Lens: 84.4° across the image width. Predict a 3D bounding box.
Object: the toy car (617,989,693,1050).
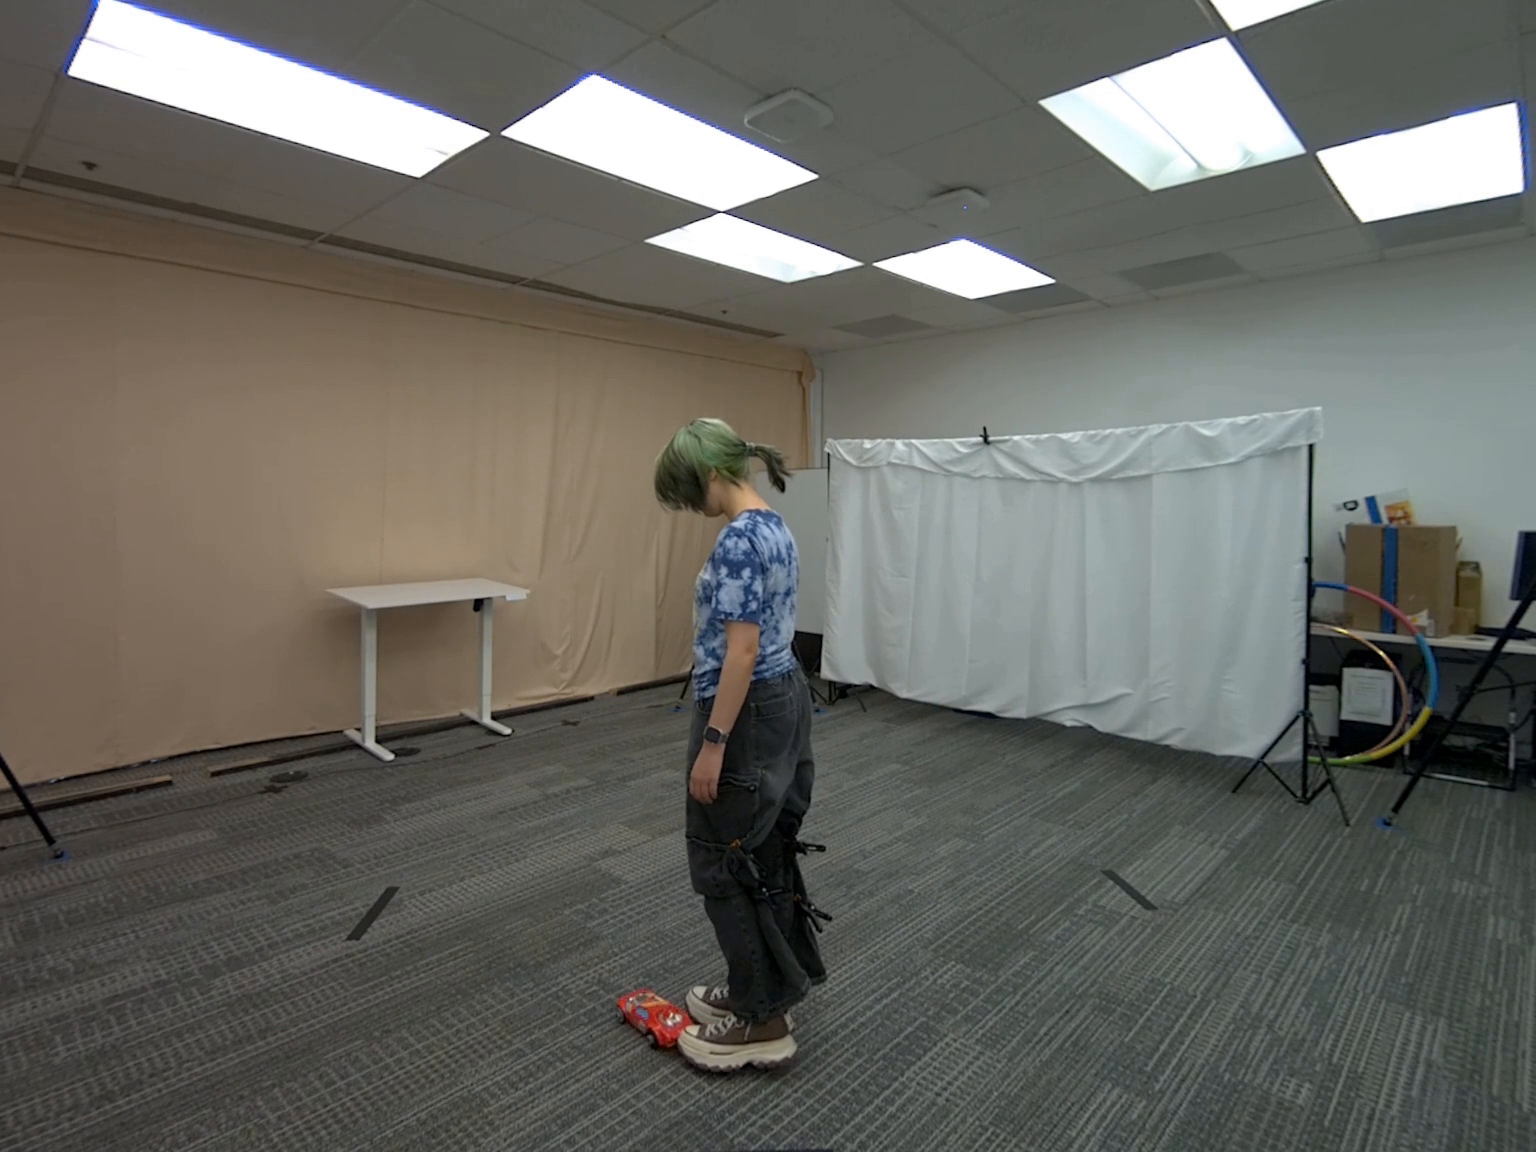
[{"bbox_3d":[-0.294,1.177,2.230,0.126,0.083,0.261,-5,-4,-41],"label":"toy car"}]
